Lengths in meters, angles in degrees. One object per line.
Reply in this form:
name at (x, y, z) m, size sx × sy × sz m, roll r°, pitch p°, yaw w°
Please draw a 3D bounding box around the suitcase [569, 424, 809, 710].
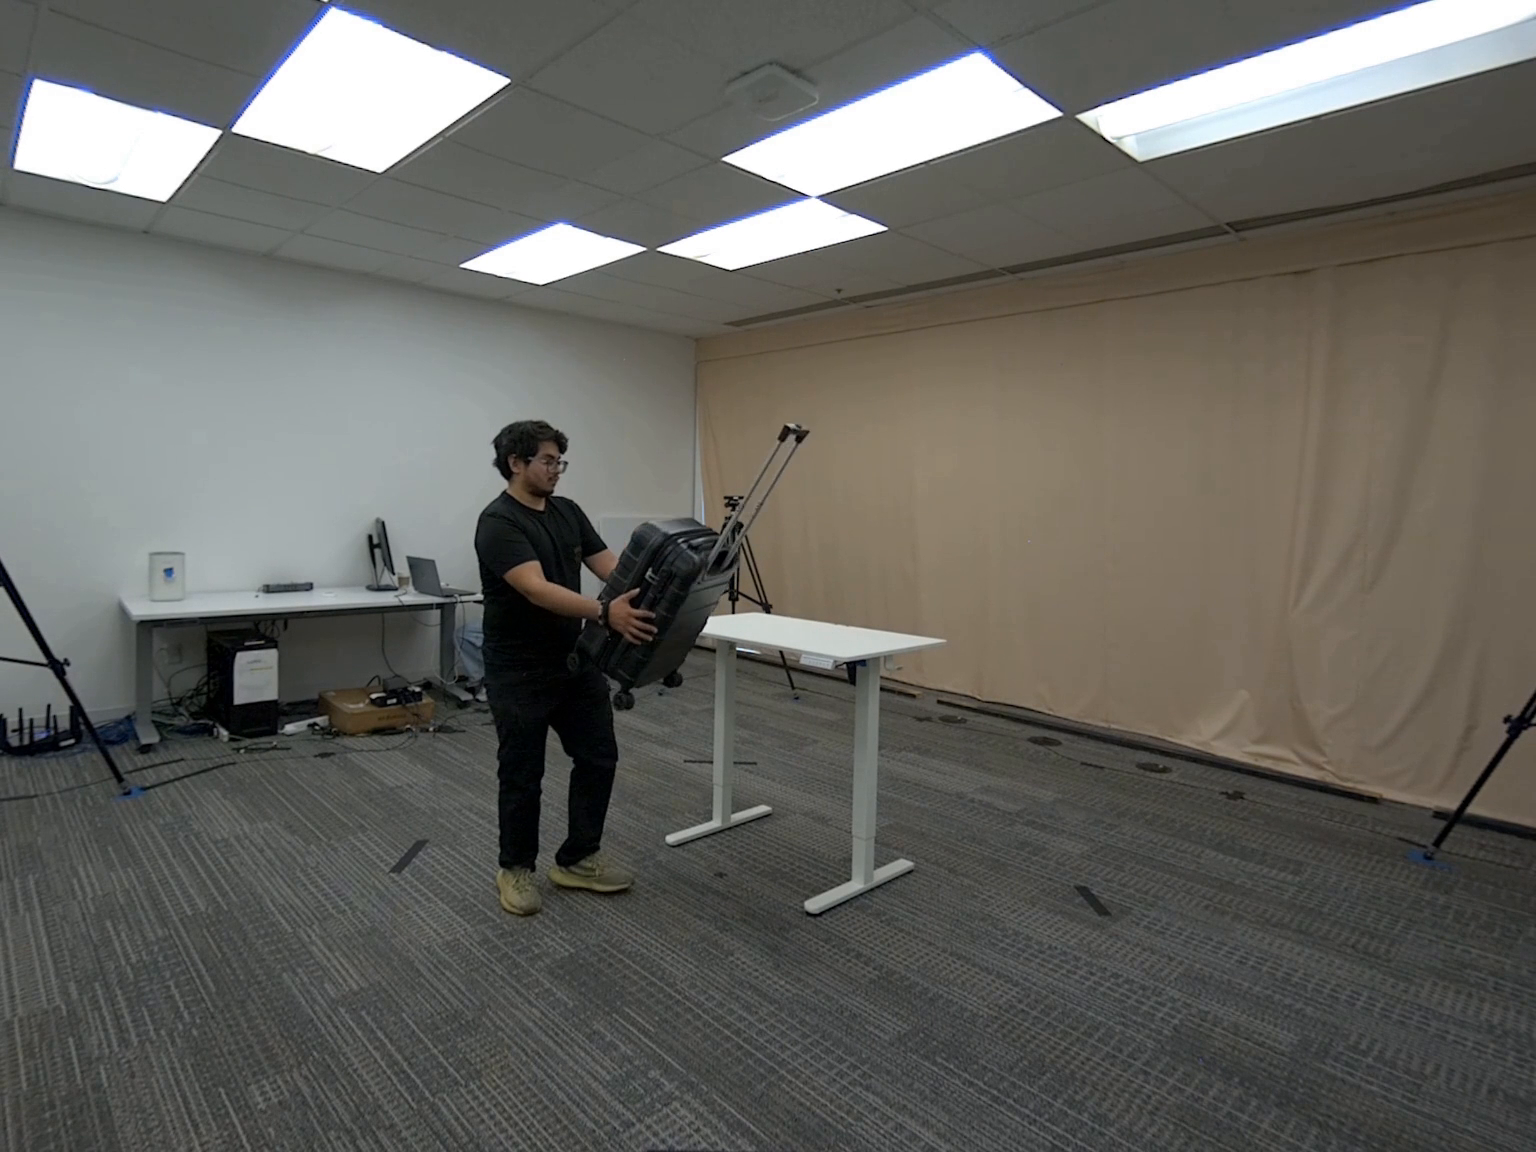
suitcase at (-0.252, -0.079, 2.567) m, size 0.262 × 0.974 × 0.378 m, roll 34°, pitch 18°, yaw 17°
